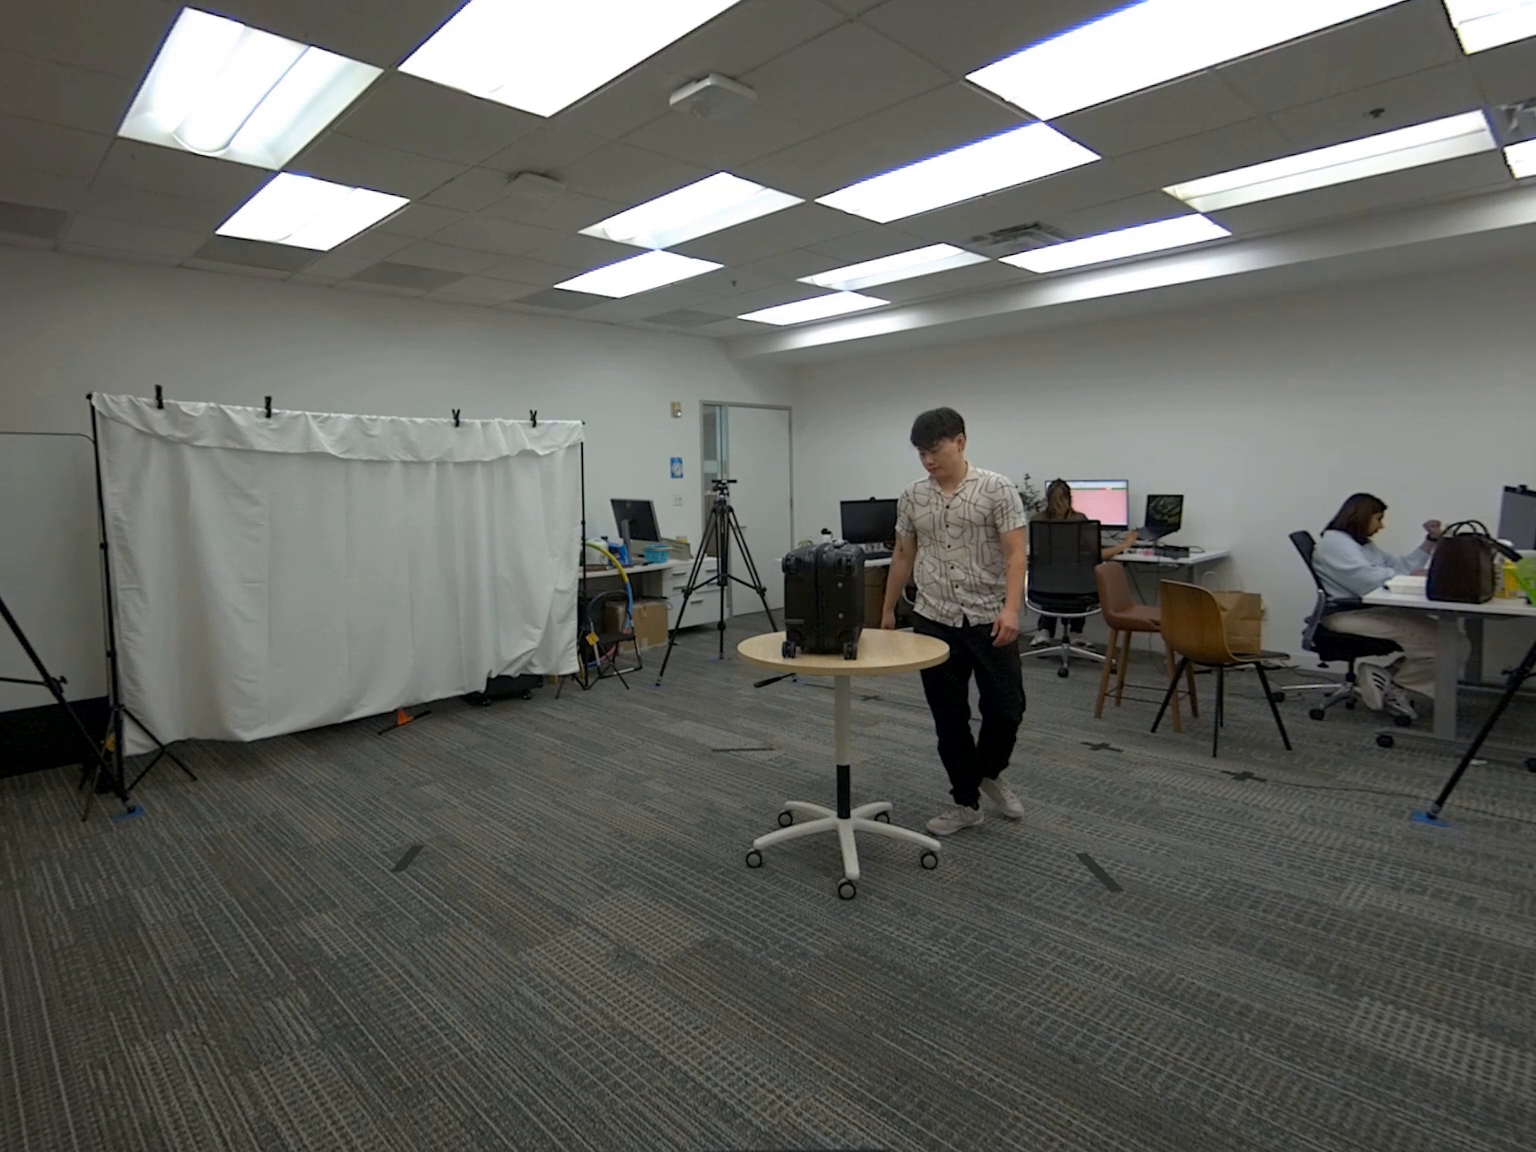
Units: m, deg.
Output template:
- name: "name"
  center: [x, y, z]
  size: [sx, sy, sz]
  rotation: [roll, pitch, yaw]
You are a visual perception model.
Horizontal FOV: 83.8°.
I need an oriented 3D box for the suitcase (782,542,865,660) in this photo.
- name: "suitcase"
  center: [0.221, 0.064, 3.147]
  size: [0.251, 0.374, 0.545]
  rotation: [-2, 5, 12]
